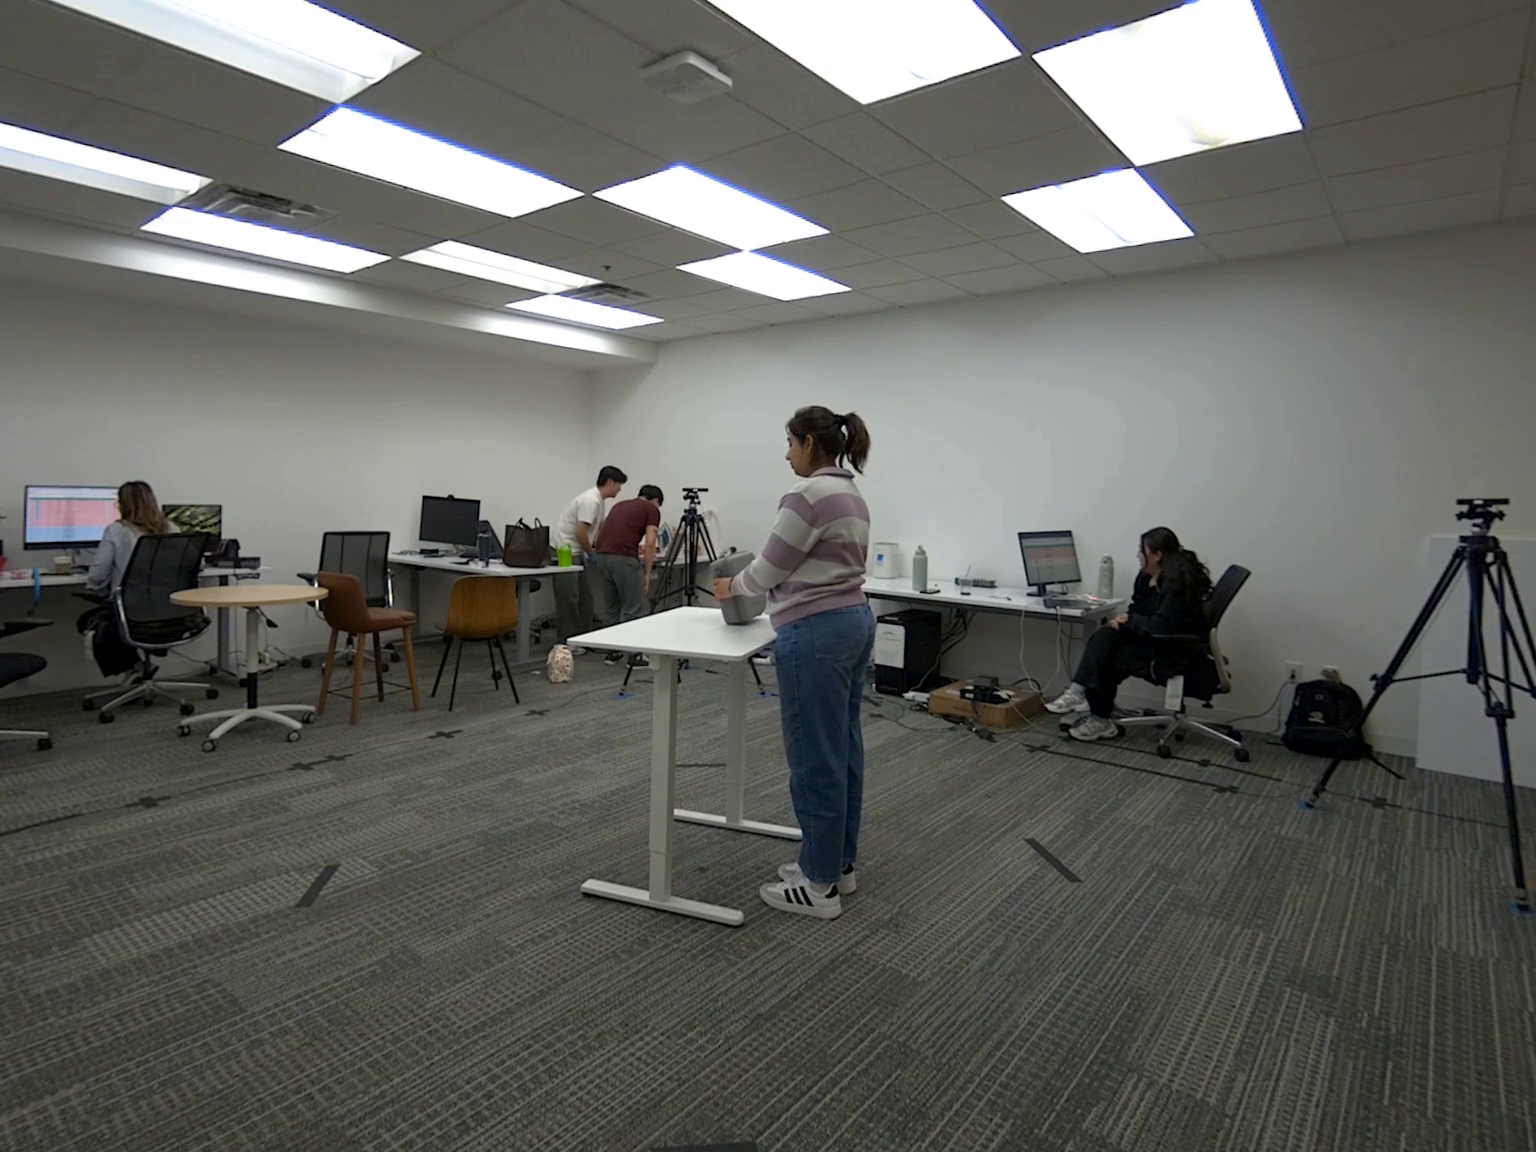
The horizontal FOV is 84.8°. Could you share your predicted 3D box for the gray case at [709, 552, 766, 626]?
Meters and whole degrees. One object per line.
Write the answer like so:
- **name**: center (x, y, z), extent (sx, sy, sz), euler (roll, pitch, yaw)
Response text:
- **gray case**: center (-0.122, 0.037, 3.276), extent (0.106, 0.261, 0.252), euler (-14, 0, 22)
